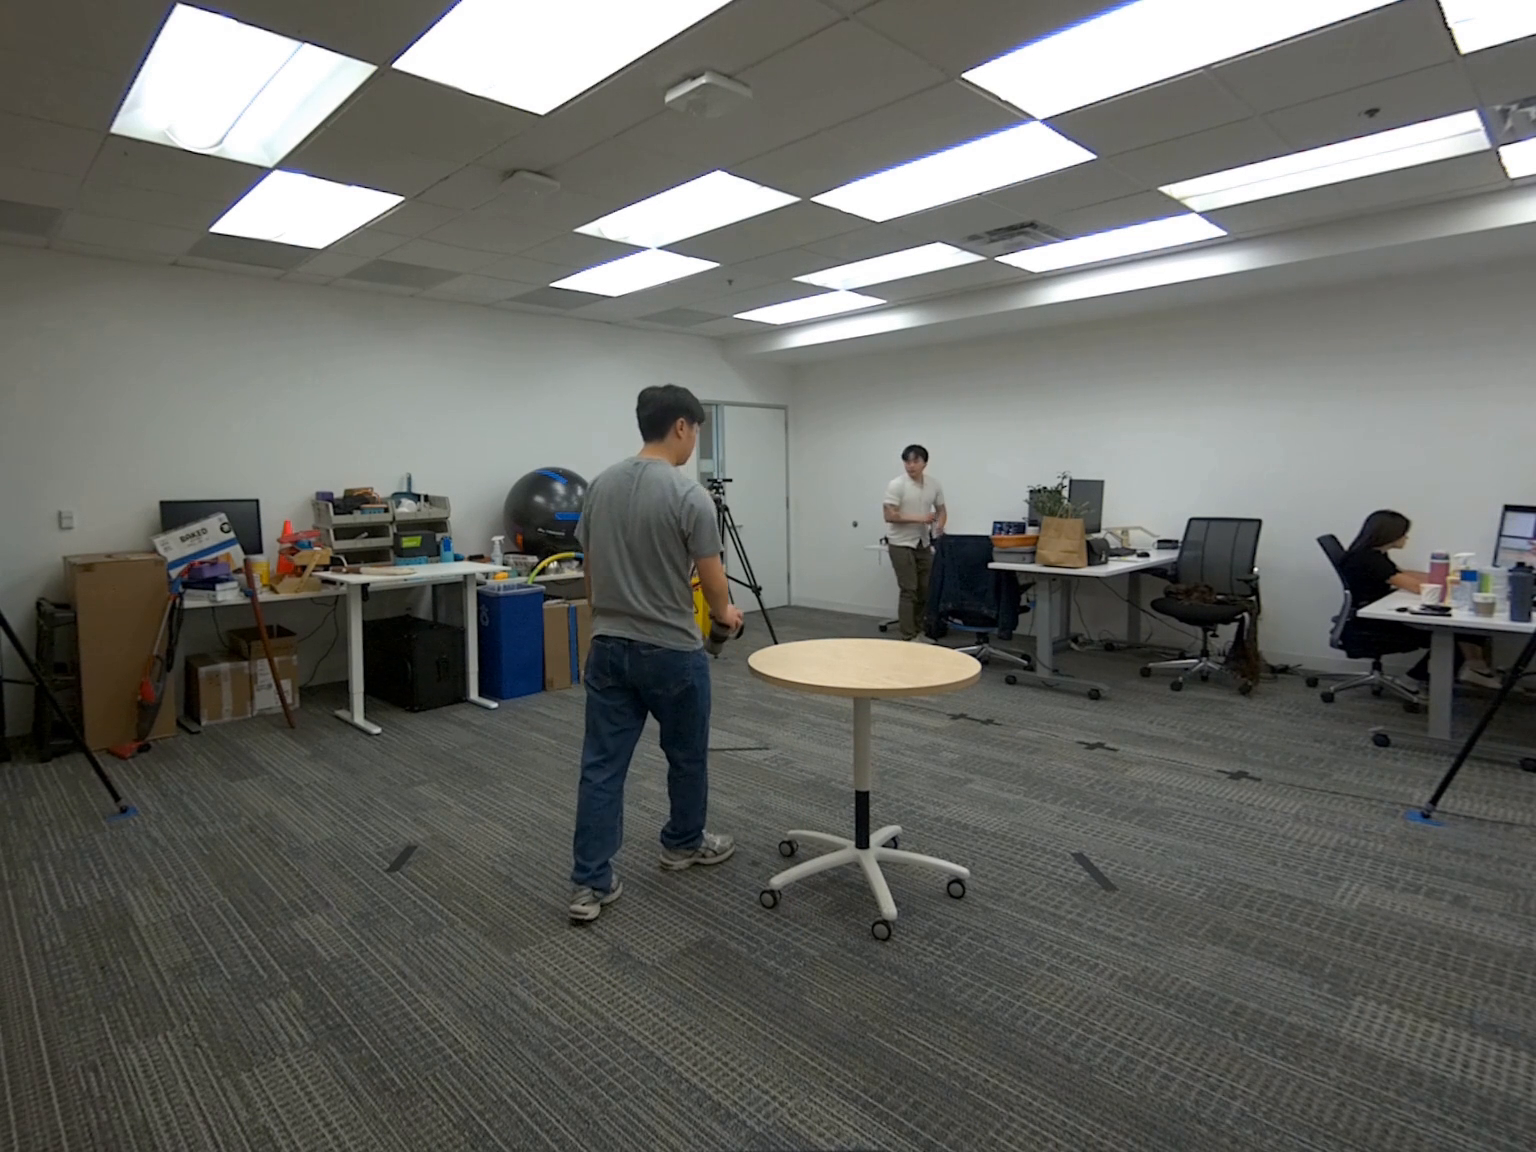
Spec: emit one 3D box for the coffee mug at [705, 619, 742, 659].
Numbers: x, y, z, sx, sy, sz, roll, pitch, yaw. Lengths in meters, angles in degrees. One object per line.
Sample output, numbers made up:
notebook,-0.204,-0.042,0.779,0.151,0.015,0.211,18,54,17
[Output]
coffee mug,-0.156,0.218,3.137,0.125,0.199,0.088,30,46,18
